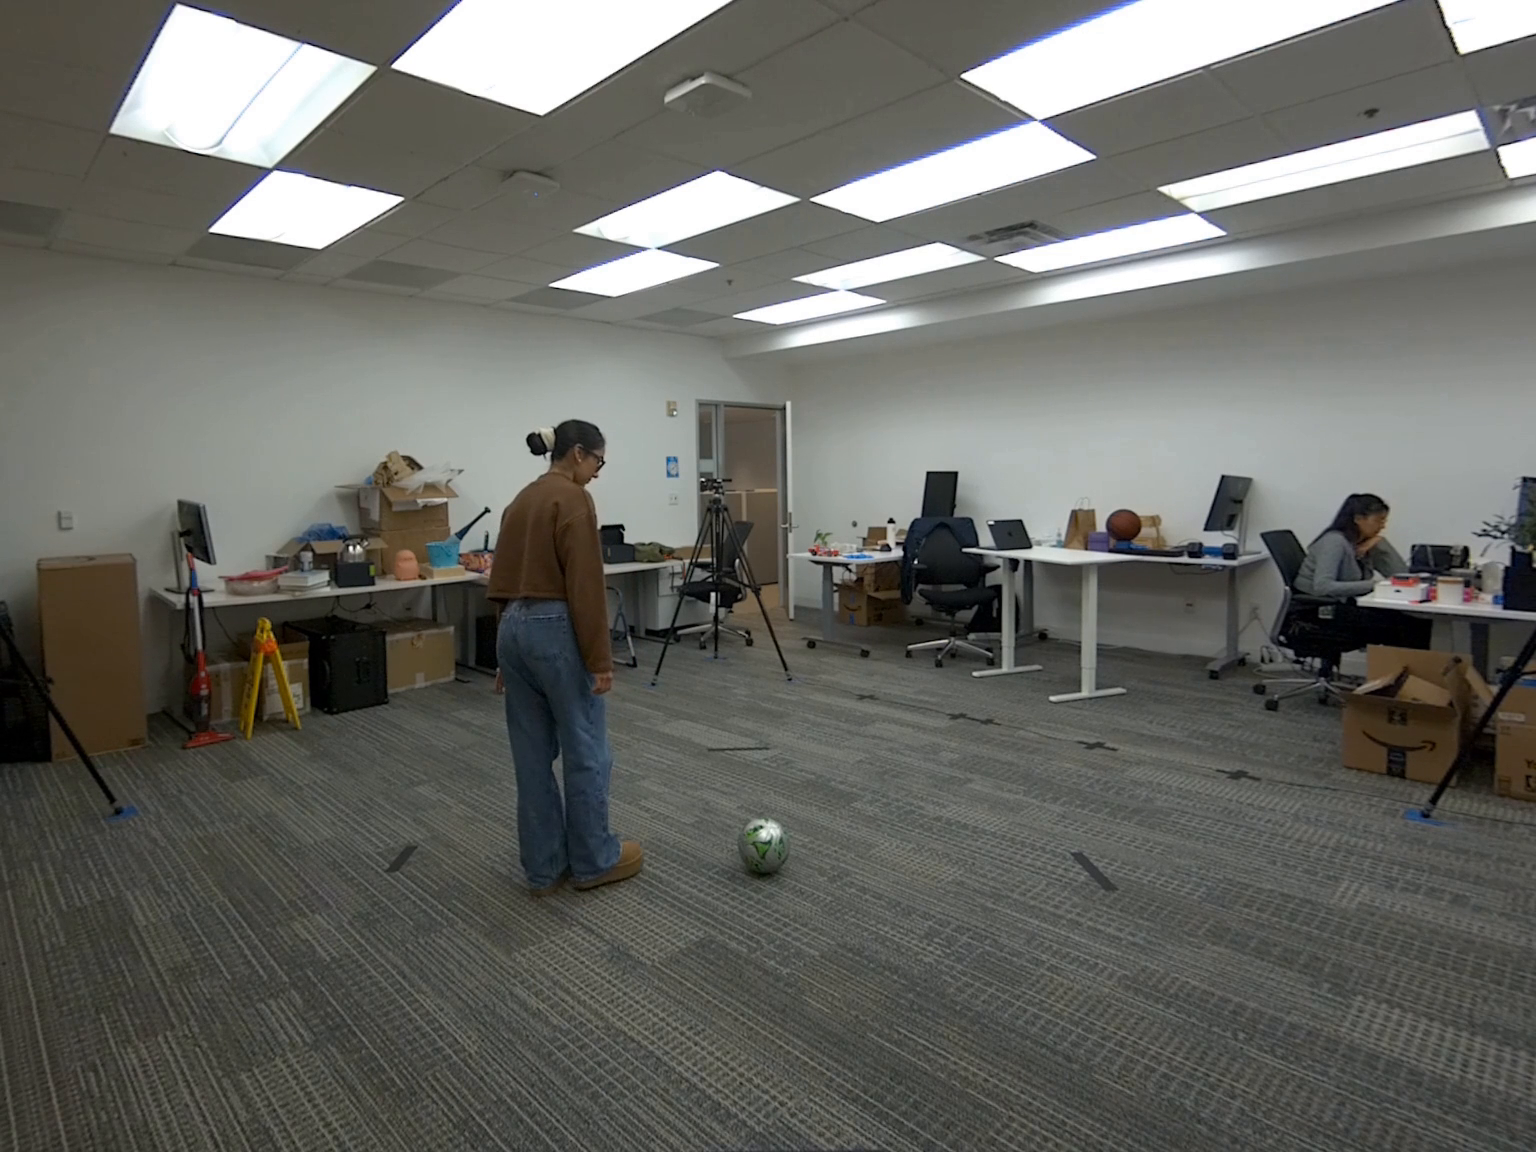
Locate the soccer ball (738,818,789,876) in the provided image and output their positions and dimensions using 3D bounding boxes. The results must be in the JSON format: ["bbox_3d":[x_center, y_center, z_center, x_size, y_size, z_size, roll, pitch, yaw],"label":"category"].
[{"bbox_3d":[-0.006,0.953,3.041,0.187,0.187,0.188,-1,5,-2],"label":"soccer ball"}]
